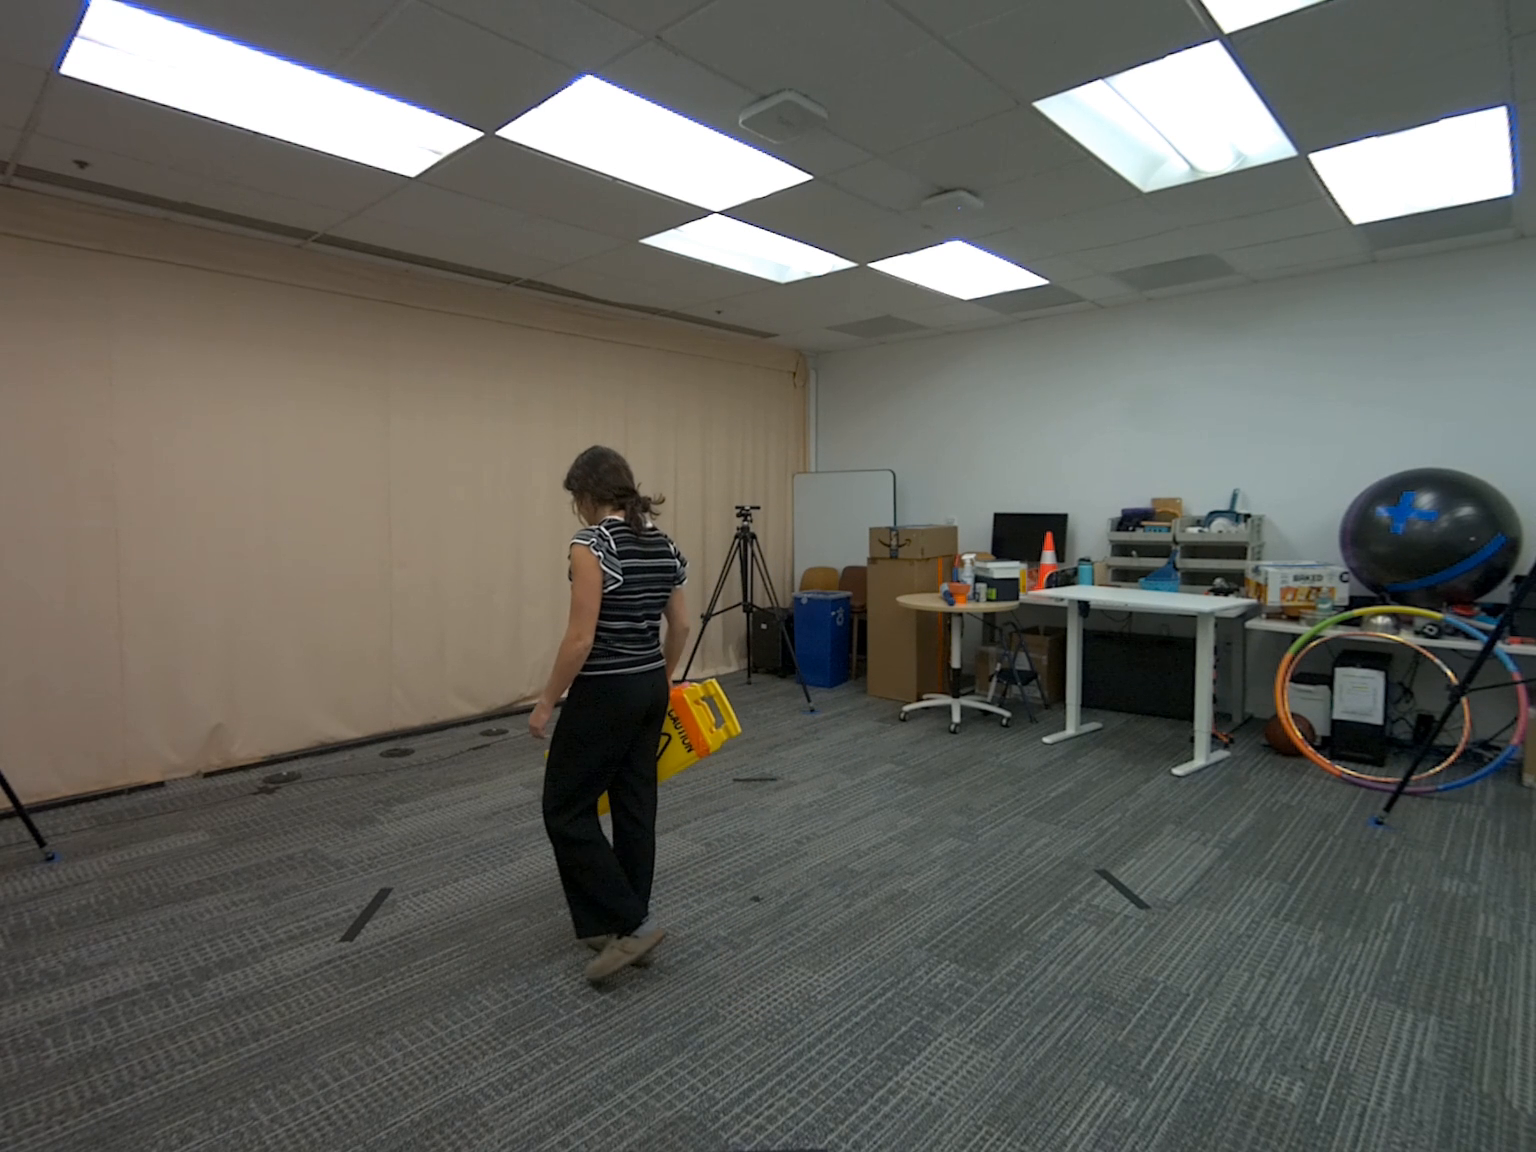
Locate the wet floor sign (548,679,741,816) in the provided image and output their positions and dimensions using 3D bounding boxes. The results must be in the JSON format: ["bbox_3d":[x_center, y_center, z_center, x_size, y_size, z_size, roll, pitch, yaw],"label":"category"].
[{"bbox_3d":[-0.389,0.557,2.837,0.655,0.283,0.285,-28,-2,22],"label":"wet floor sign"}]
